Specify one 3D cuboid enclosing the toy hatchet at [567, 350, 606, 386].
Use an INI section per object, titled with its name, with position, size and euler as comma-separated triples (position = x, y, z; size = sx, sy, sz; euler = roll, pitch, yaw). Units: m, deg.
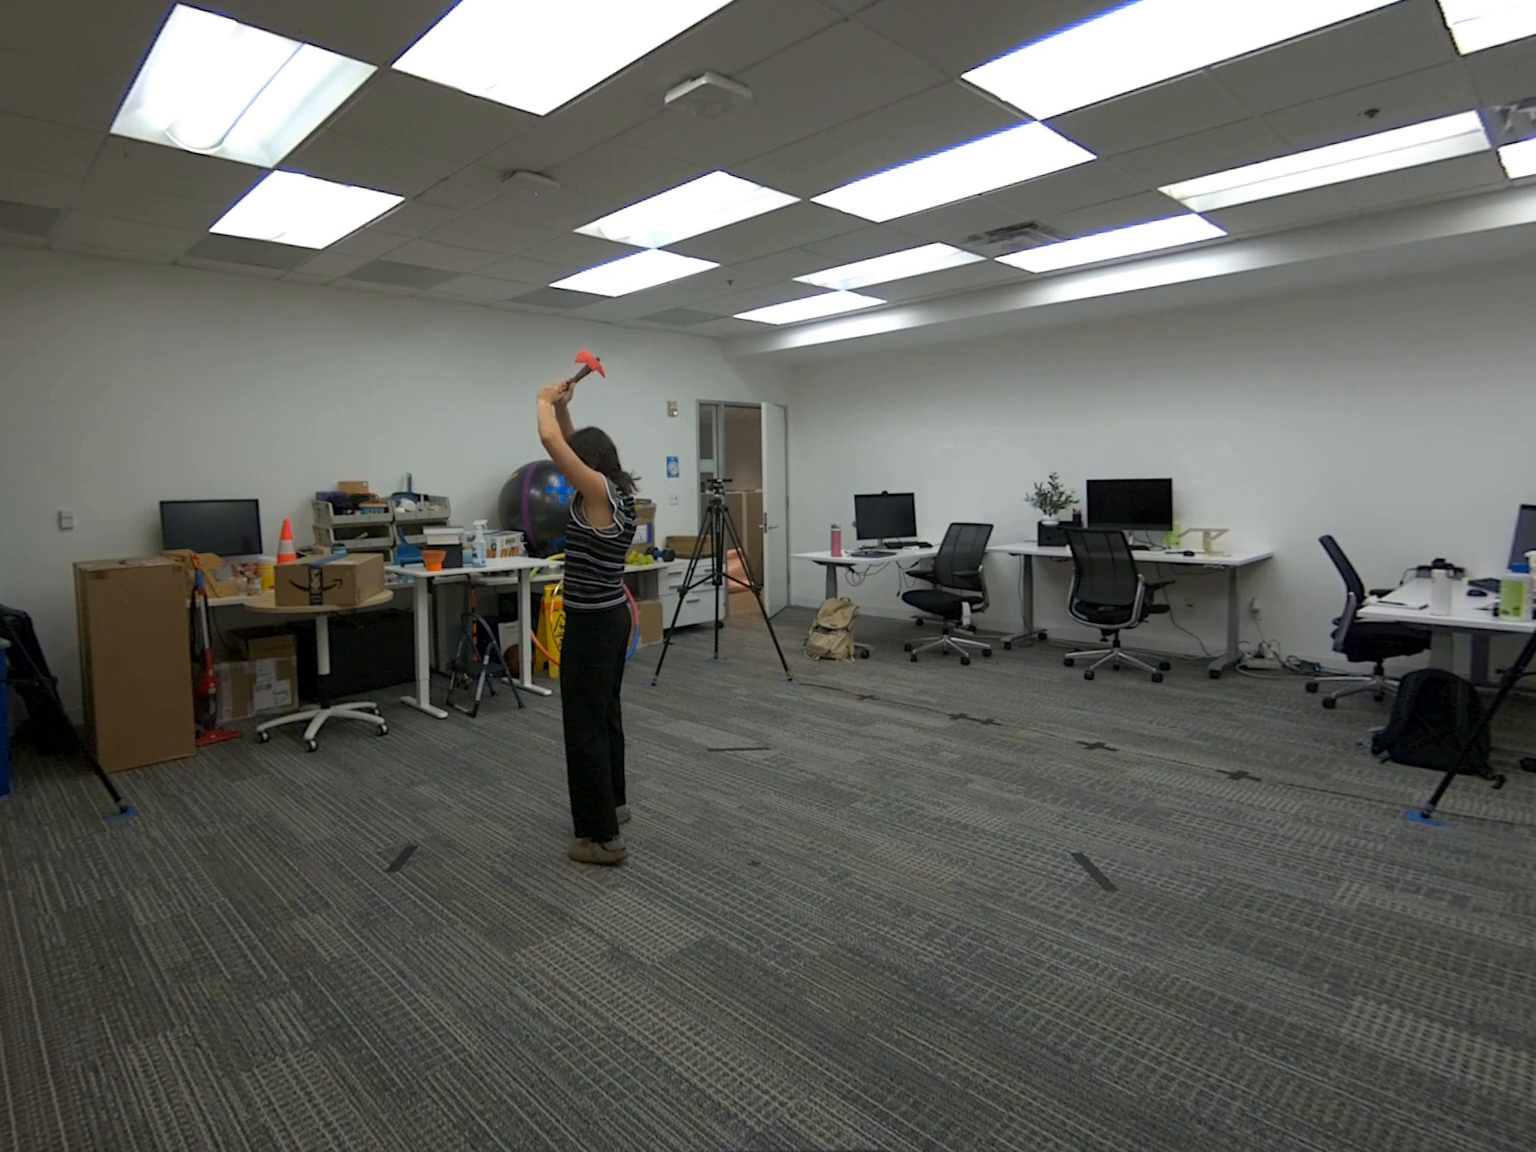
[toy hatchet]
position = -0.777, -0.781, 3.282
size = 0.268, 0.129, 0.030
euler = -23, 9, -10
